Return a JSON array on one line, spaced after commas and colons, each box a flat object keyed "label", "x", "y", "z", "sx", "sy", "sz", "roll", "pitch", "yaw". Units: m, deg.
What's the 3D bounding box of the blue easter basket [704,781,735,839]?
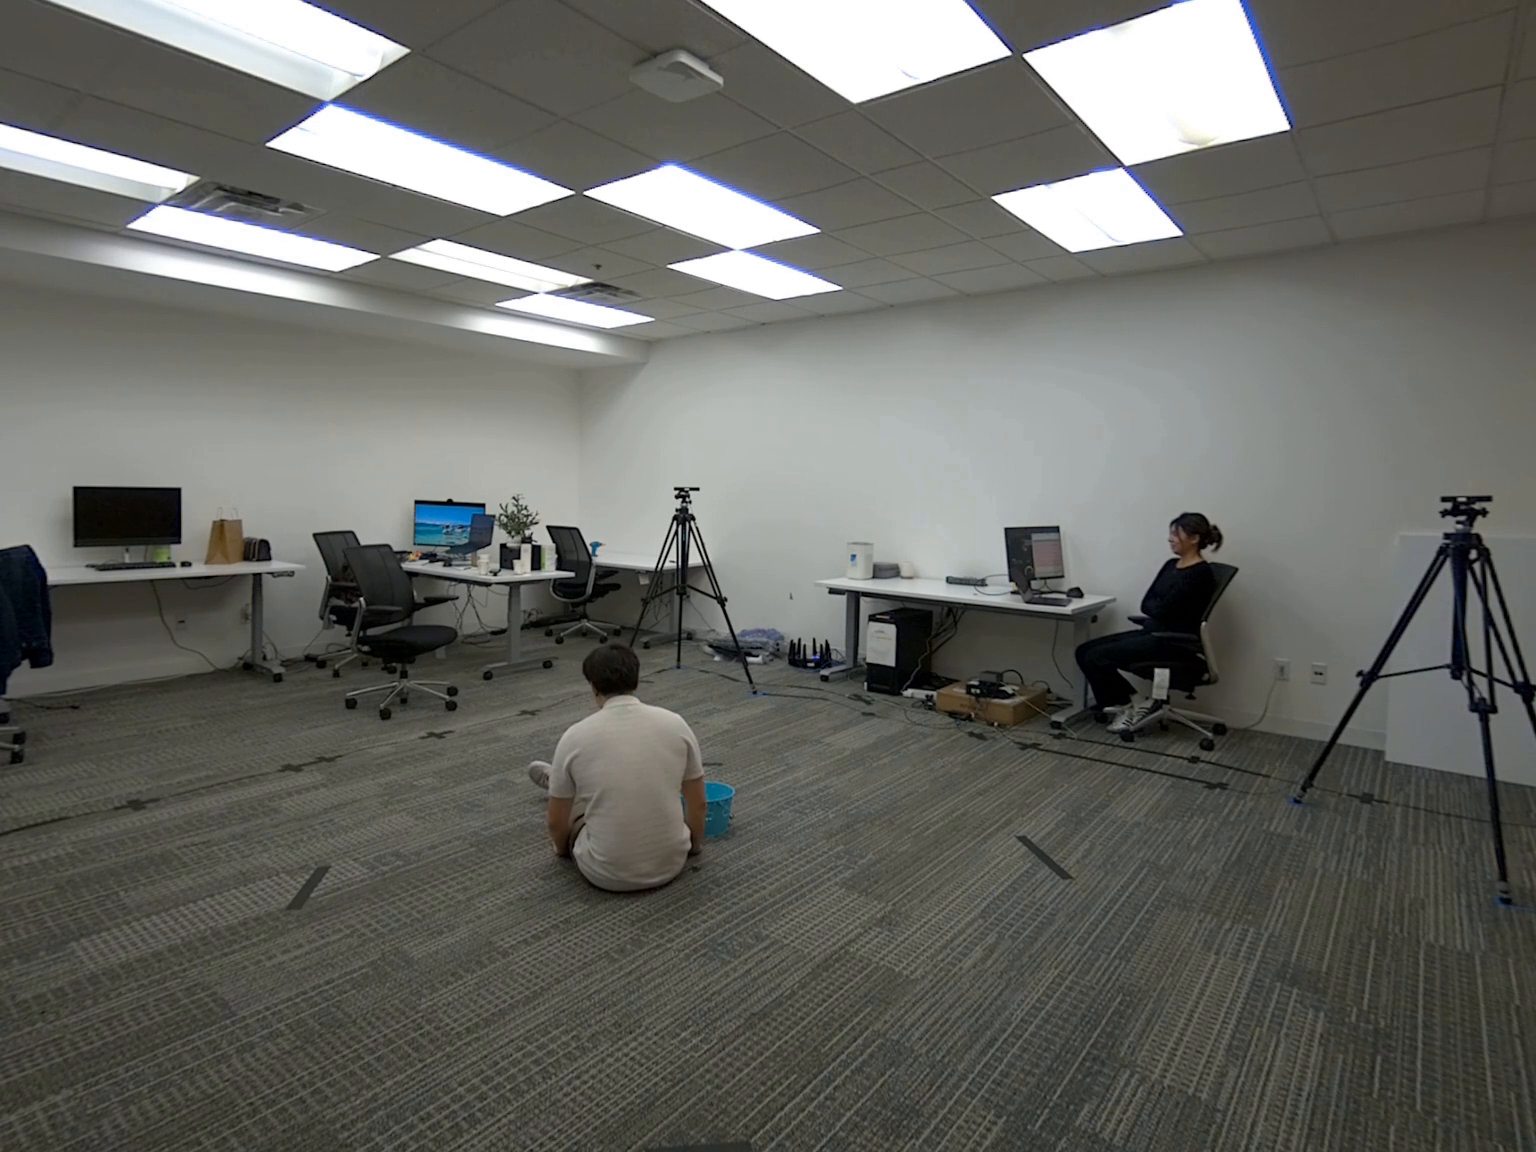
[{"label": "blue easter basket", "x": -0.258, "y": 0.953, "z": 3.483, "sx": 0.243, "sy": 0.155, "sz": 0.245, "roll": 0, "pitch": 6, "yaw": -2}]
